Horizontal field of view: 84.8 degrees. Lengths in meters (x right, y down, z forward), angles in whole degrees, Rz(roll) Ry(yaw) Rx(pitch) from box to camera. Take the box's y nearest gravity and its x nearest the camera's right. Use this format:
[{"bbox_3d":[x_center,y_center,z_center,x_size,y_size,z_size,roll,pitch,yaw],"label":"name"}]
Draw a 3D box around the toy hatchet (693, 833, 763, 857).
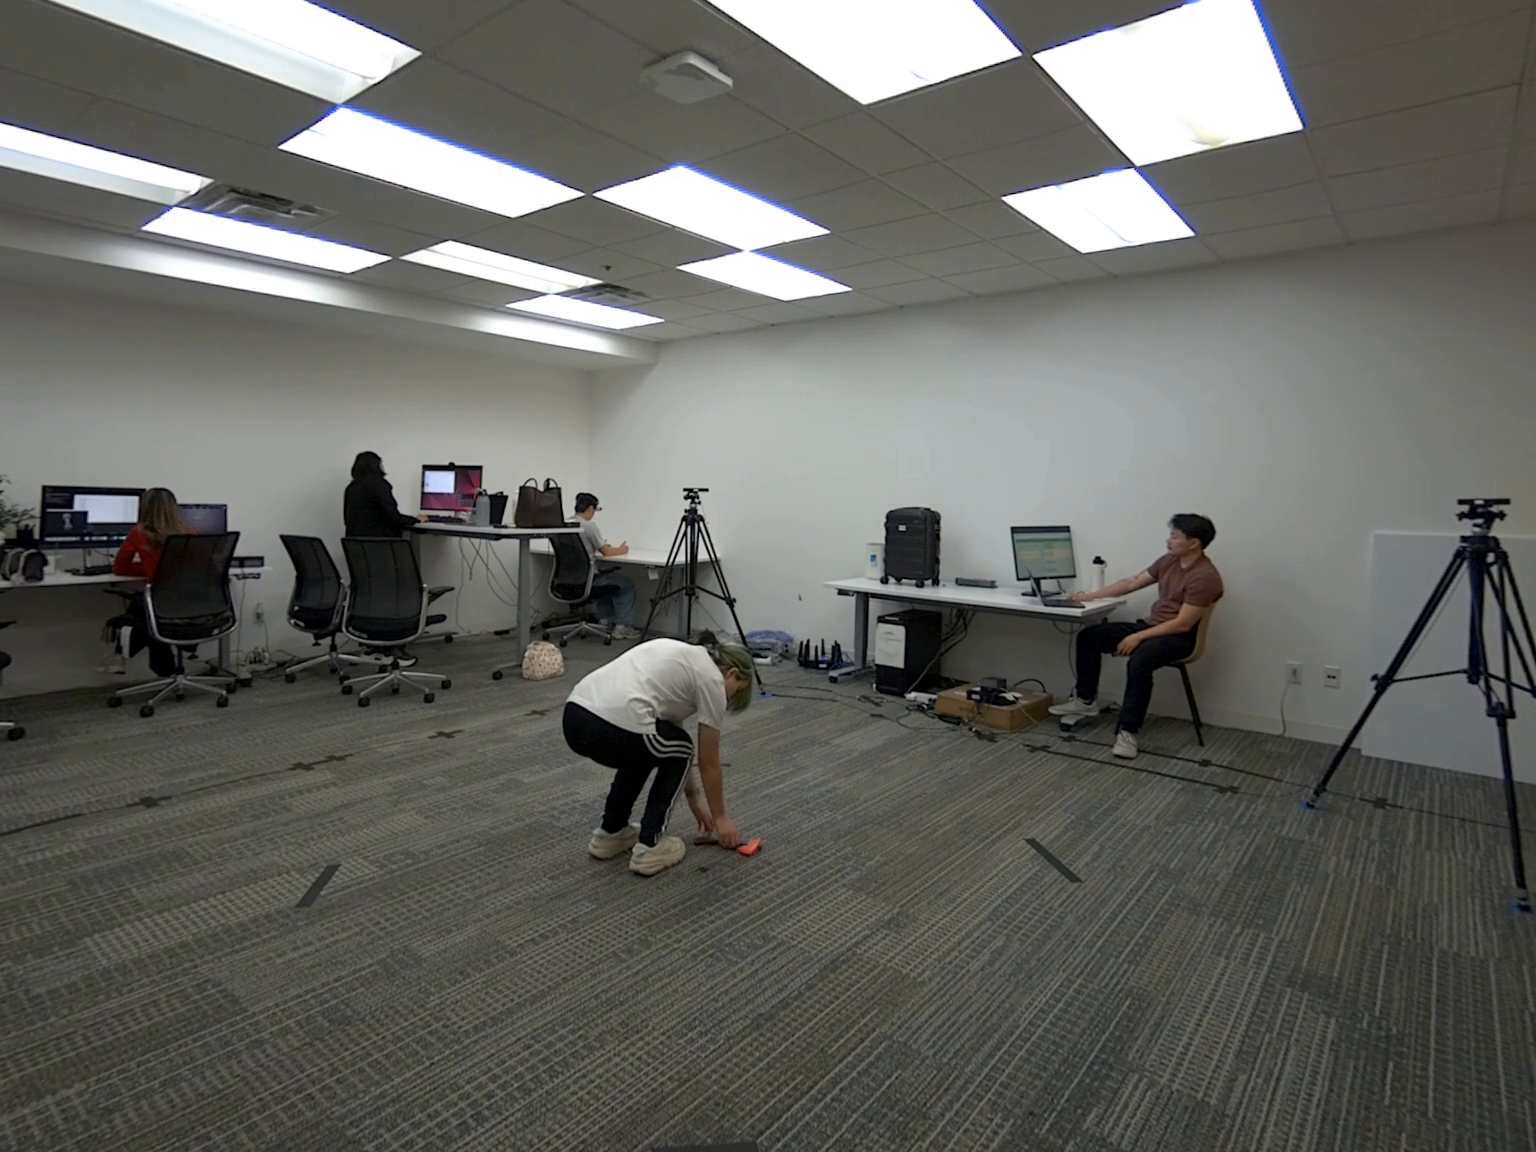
[{"bbox_3d":[-0.169,1.052,3.280,0.270,0.029,0.132,-4,10,0],"label":"toy hatchet"}]
